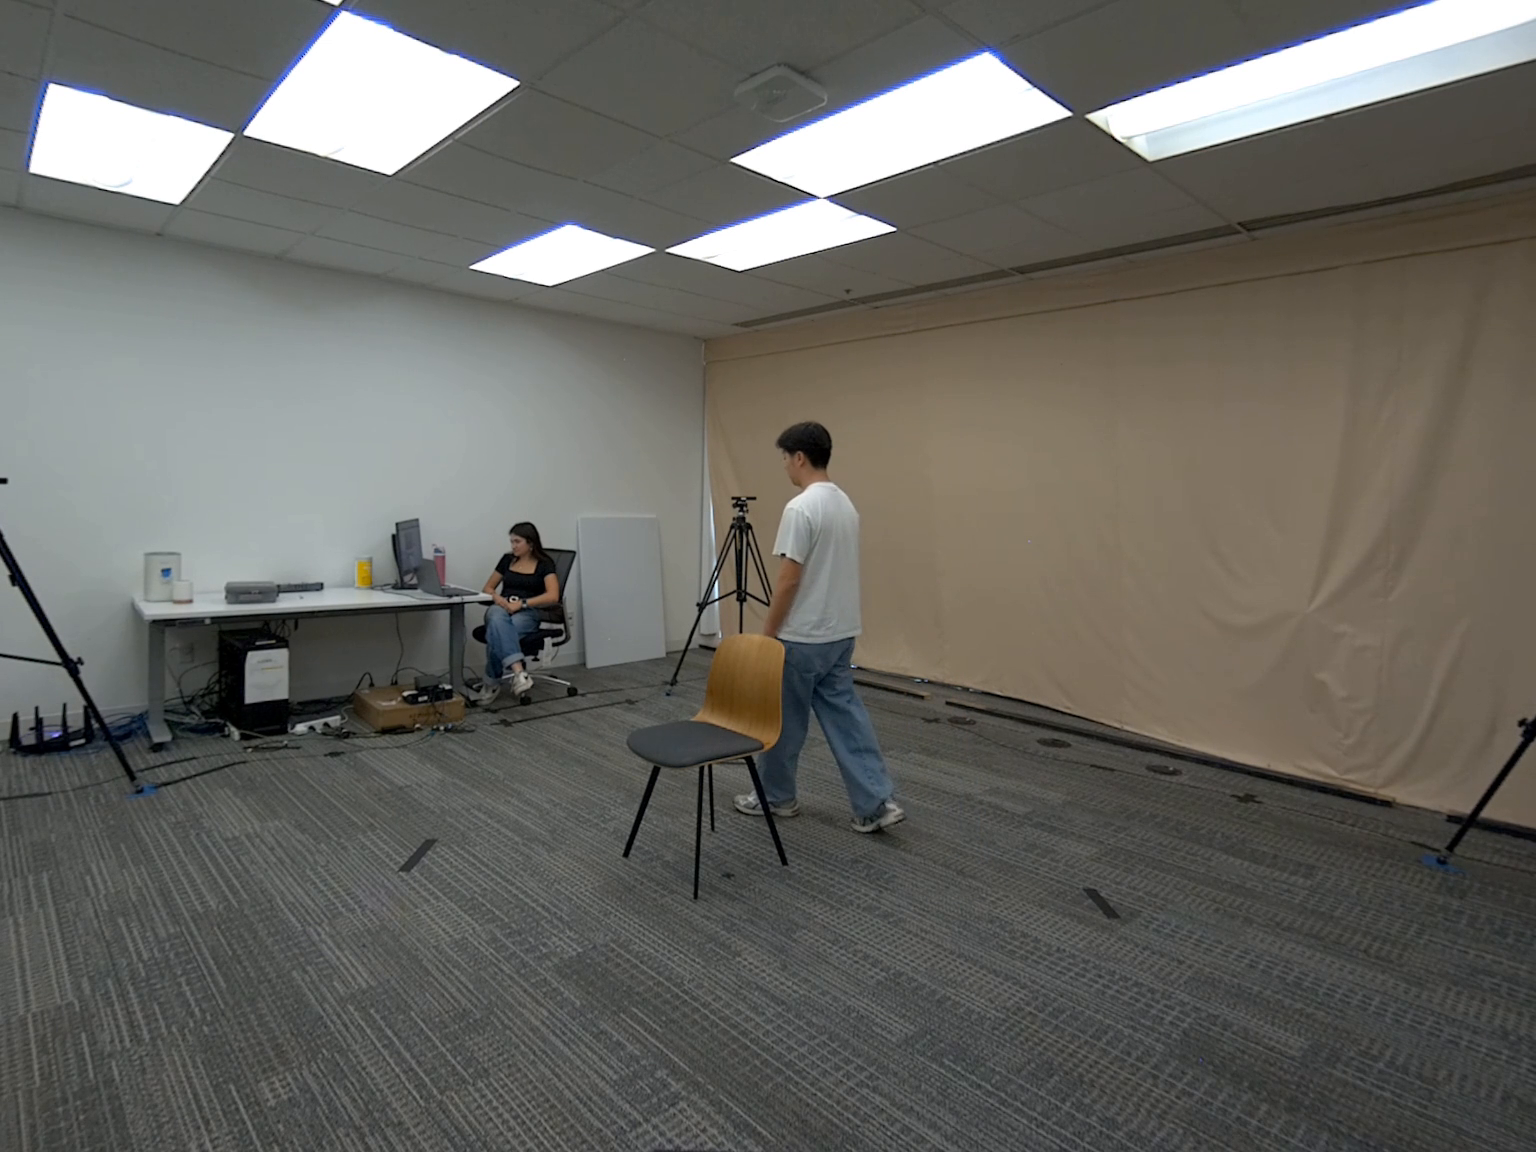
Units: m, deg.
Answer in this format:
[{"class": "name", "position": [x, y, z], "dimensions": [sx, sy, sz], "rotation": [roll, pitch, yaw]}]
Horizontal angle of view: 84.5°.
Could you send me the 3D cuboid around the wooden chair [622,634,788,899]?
[{"class": "wooden chair", "position": [-0.244, 0.671, 3.187], "dimensions": [0.510, 0.877, 0.490], "rotation": [4, 1, -42]}]
